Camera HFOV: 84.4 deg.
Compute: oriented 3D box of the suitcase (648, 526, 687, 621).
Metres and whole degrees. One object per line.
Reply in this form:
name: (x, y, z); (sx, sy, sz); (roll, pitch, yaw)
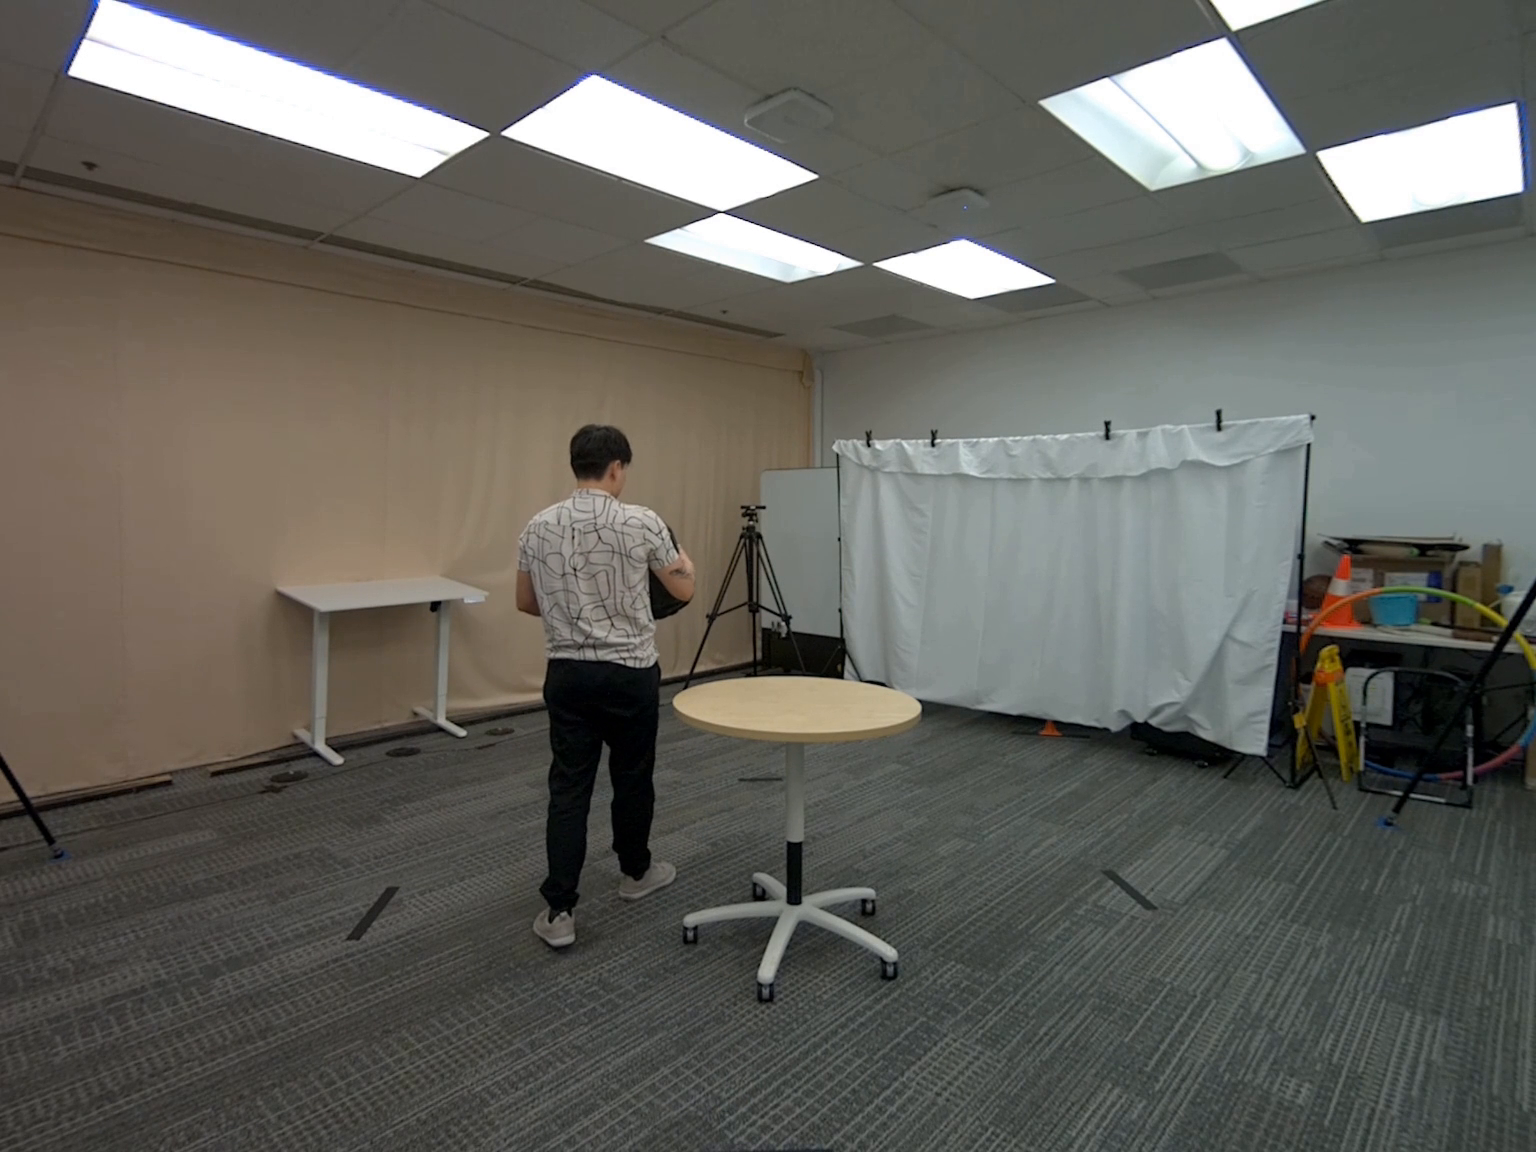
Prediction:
suitcase: (-0.578, 0.022, 3.239); (0.553, 0.377, 0.246); (-23, -3, 9)
